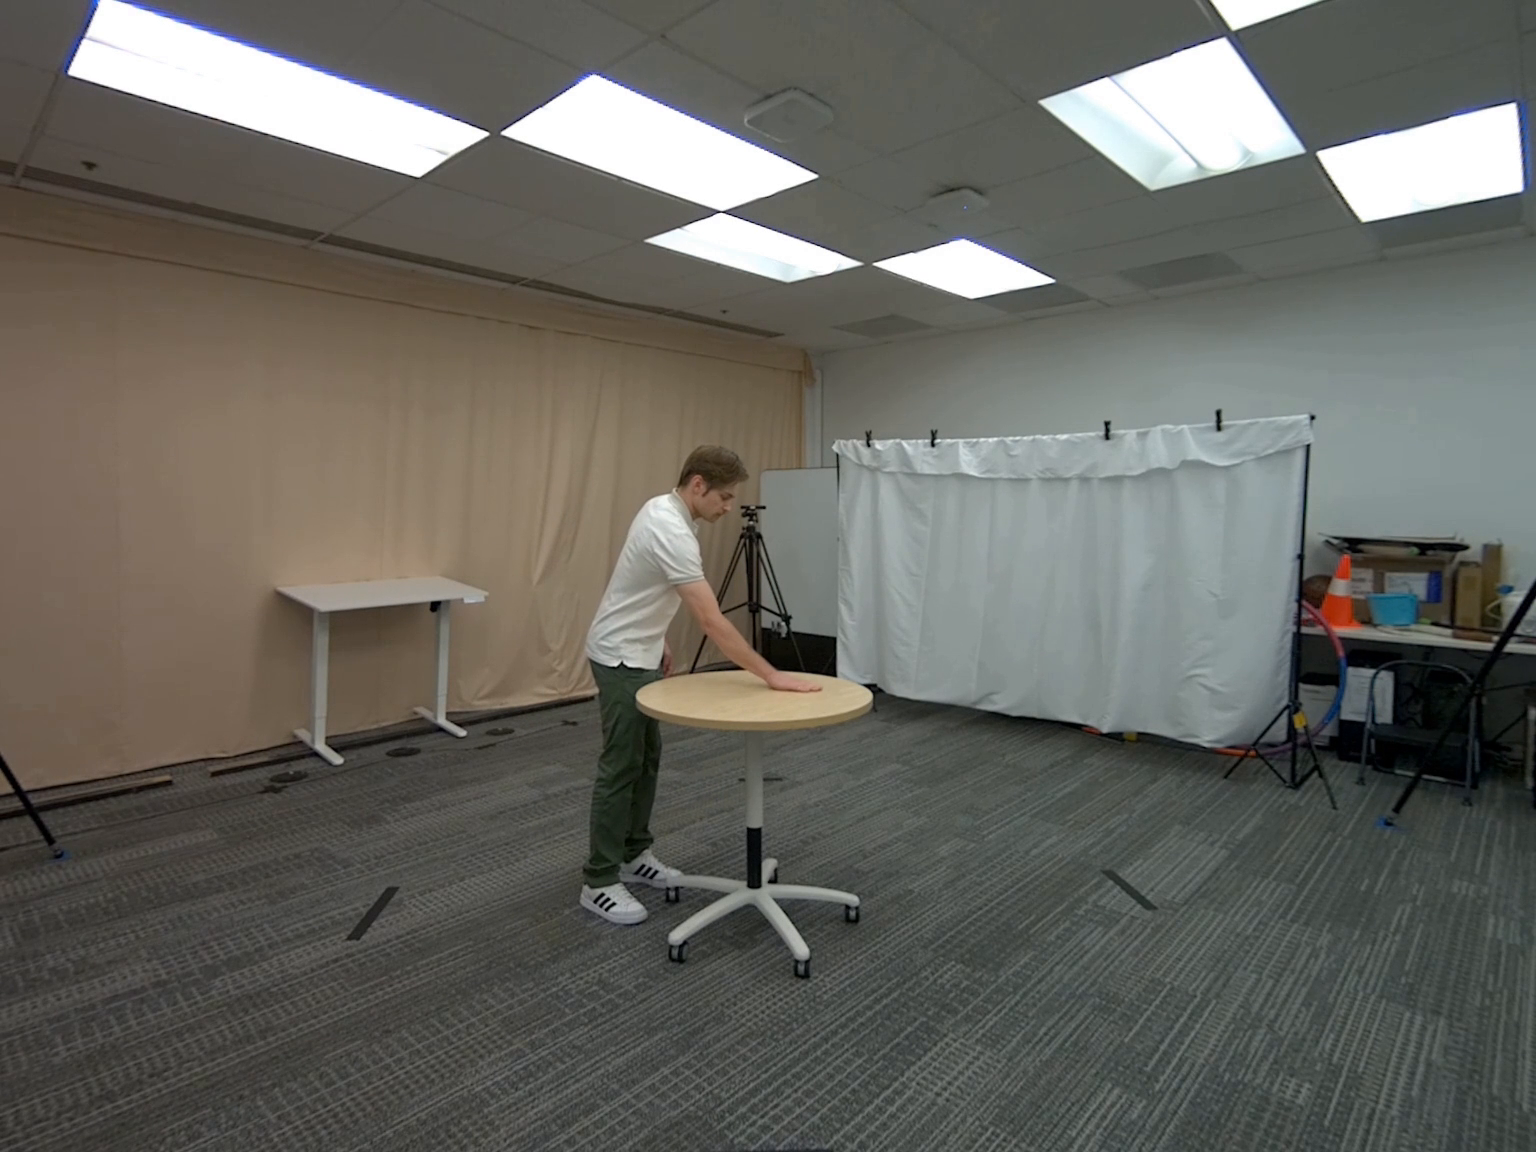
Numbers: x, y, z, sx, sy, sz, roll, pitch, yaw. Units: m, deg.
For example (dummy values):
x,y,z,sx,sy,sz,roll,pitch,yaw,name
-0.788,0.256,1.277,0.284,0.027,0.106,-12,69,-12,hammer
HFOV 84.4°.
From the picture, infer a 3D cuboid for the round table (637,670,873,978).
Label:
x,y,z,sx,sy,sz,roll,pitch,yaw,name
-0.035,0.770,2.744,0.784,0.785,0.788,-1,3,-2,round table
